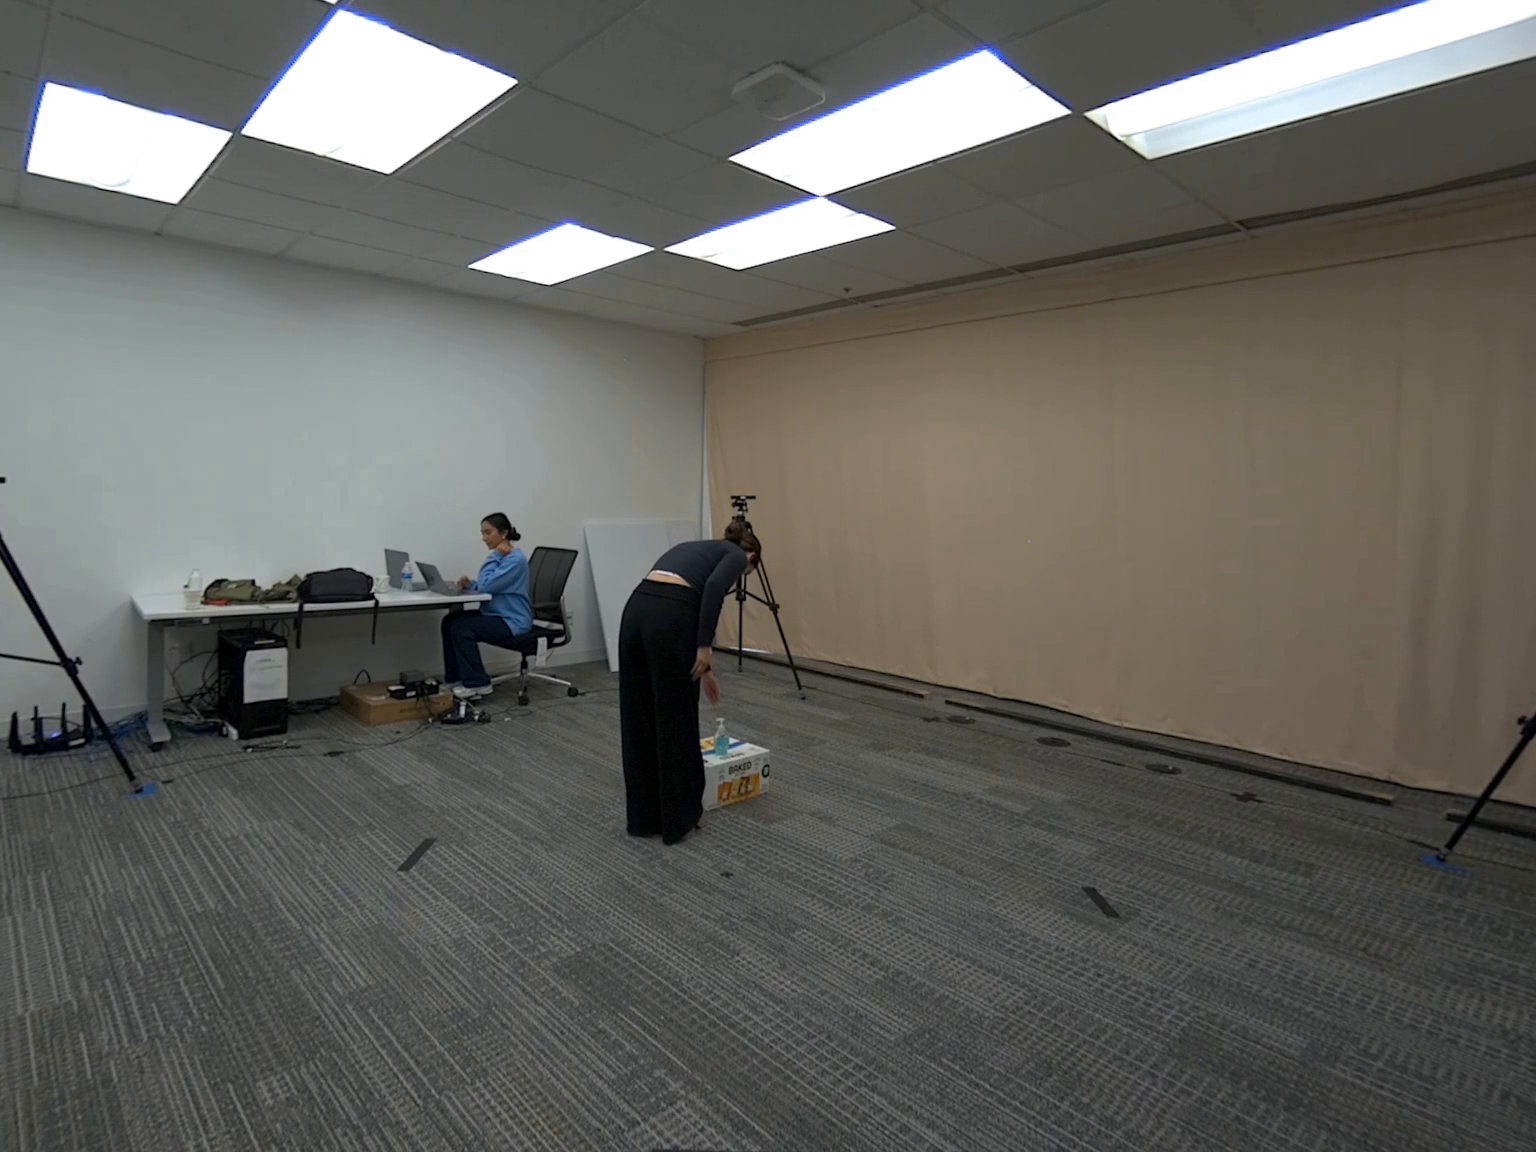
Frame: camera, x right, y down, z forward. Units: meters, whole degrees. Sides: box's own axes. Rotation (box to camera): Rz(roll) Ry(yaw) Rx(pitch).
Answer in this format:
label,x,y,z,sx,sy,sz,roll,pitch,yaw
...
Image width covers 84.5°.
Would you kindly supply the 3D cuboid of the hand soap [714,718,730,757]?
label,x,y,z,sx,sy,sz,roll,pitch,yaw
hand soap,-0.226,0.750,3.935,0.082,0.168,0.044,3,-2,-41
